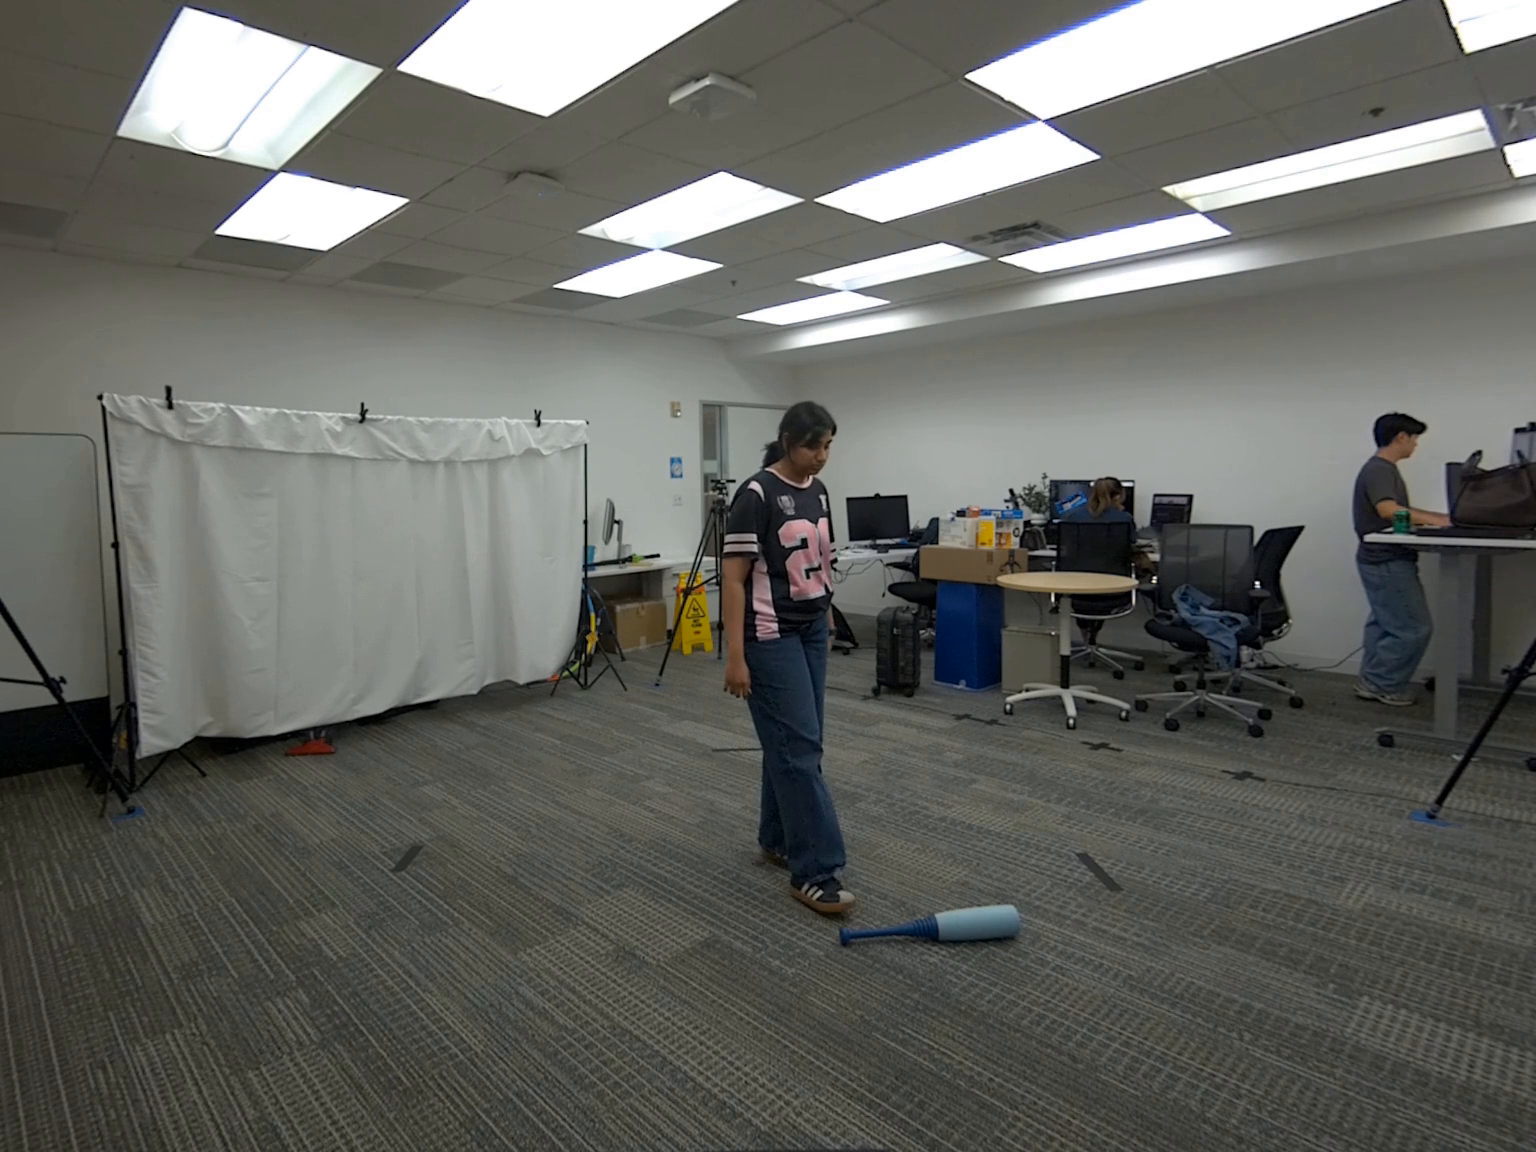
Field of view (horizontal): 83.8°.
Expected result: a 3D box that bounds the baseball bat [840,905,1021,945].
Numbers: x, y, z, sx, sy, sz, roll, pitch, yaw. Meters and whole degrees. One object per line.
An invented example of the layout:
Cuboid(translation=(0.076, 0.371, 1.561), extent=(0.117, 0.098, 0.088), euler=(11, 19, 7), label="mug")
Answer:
Cuboid(translation=(0.491, 1.063, 2.570), extent=(0.542, 0.089, 0.089), euler=(-5, 5, -2), label="baseball bat")
